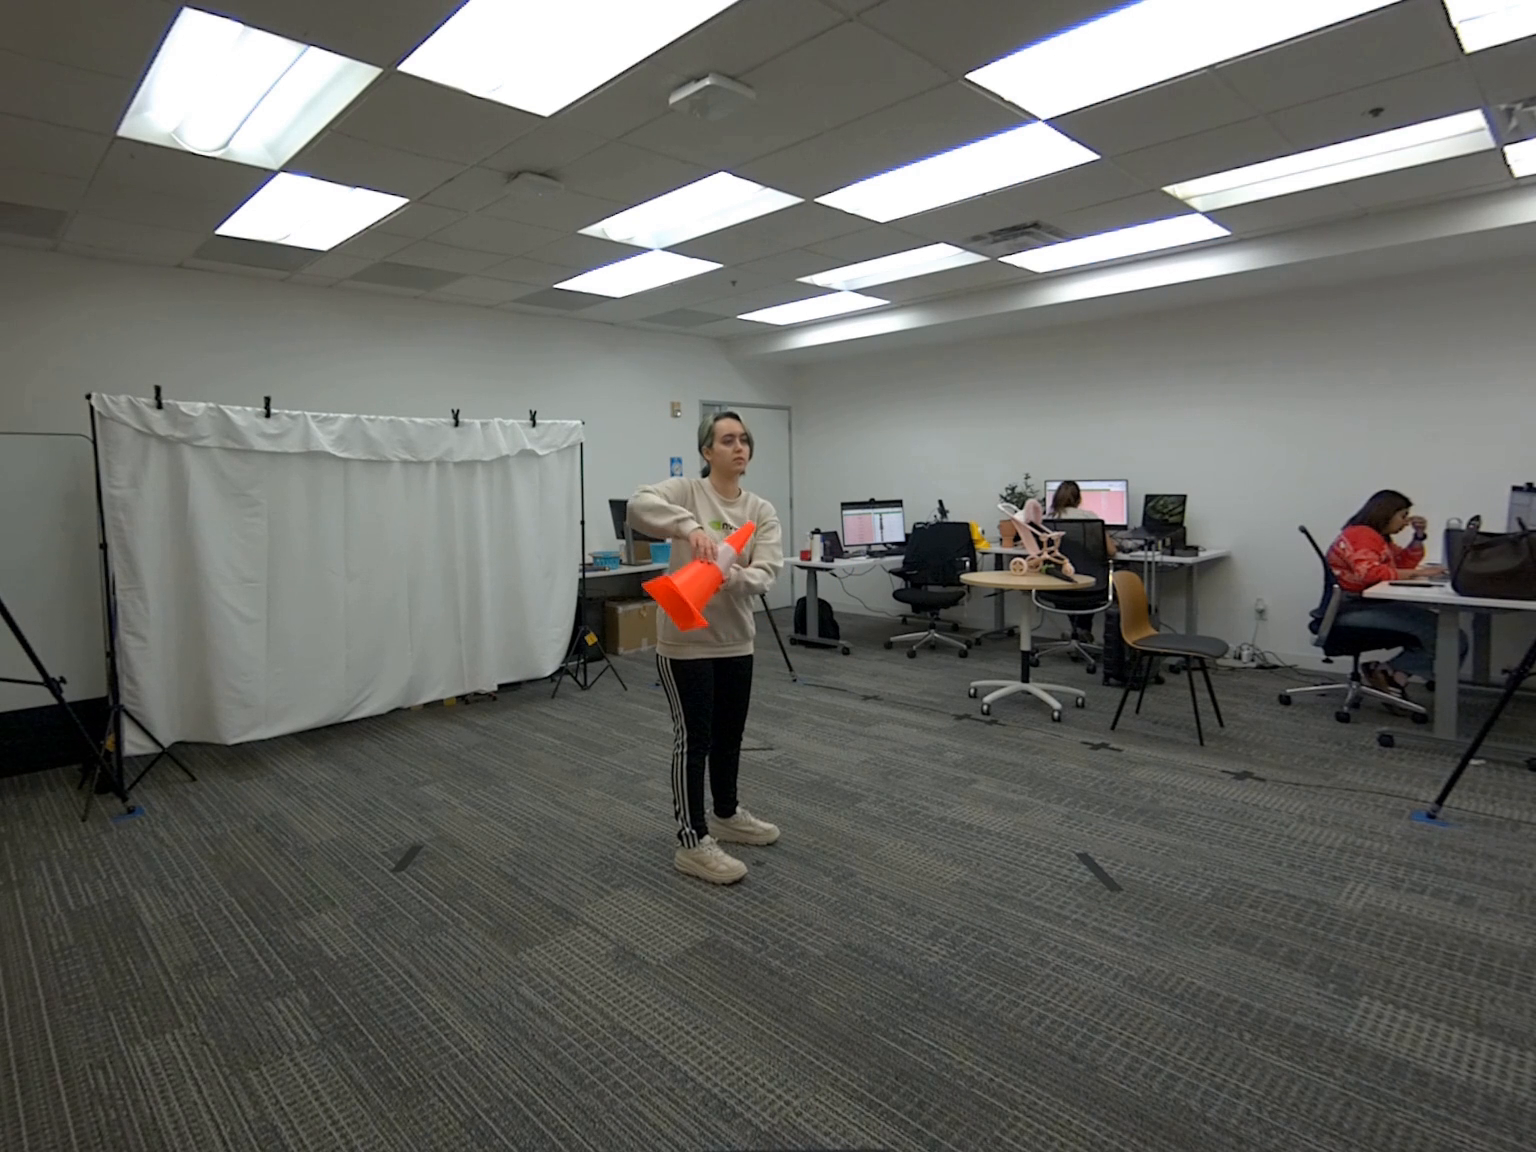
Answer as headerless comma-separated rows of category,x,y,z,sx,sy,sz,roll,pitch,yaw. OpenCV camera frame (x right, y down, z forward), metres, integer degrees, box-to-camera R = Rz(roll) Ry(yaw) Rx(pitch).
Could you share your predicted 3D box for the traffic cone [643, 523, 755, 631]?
traffic cone,-0.169,-0.031,2.664,0.383,0.202,0.206,-47,14,-28
